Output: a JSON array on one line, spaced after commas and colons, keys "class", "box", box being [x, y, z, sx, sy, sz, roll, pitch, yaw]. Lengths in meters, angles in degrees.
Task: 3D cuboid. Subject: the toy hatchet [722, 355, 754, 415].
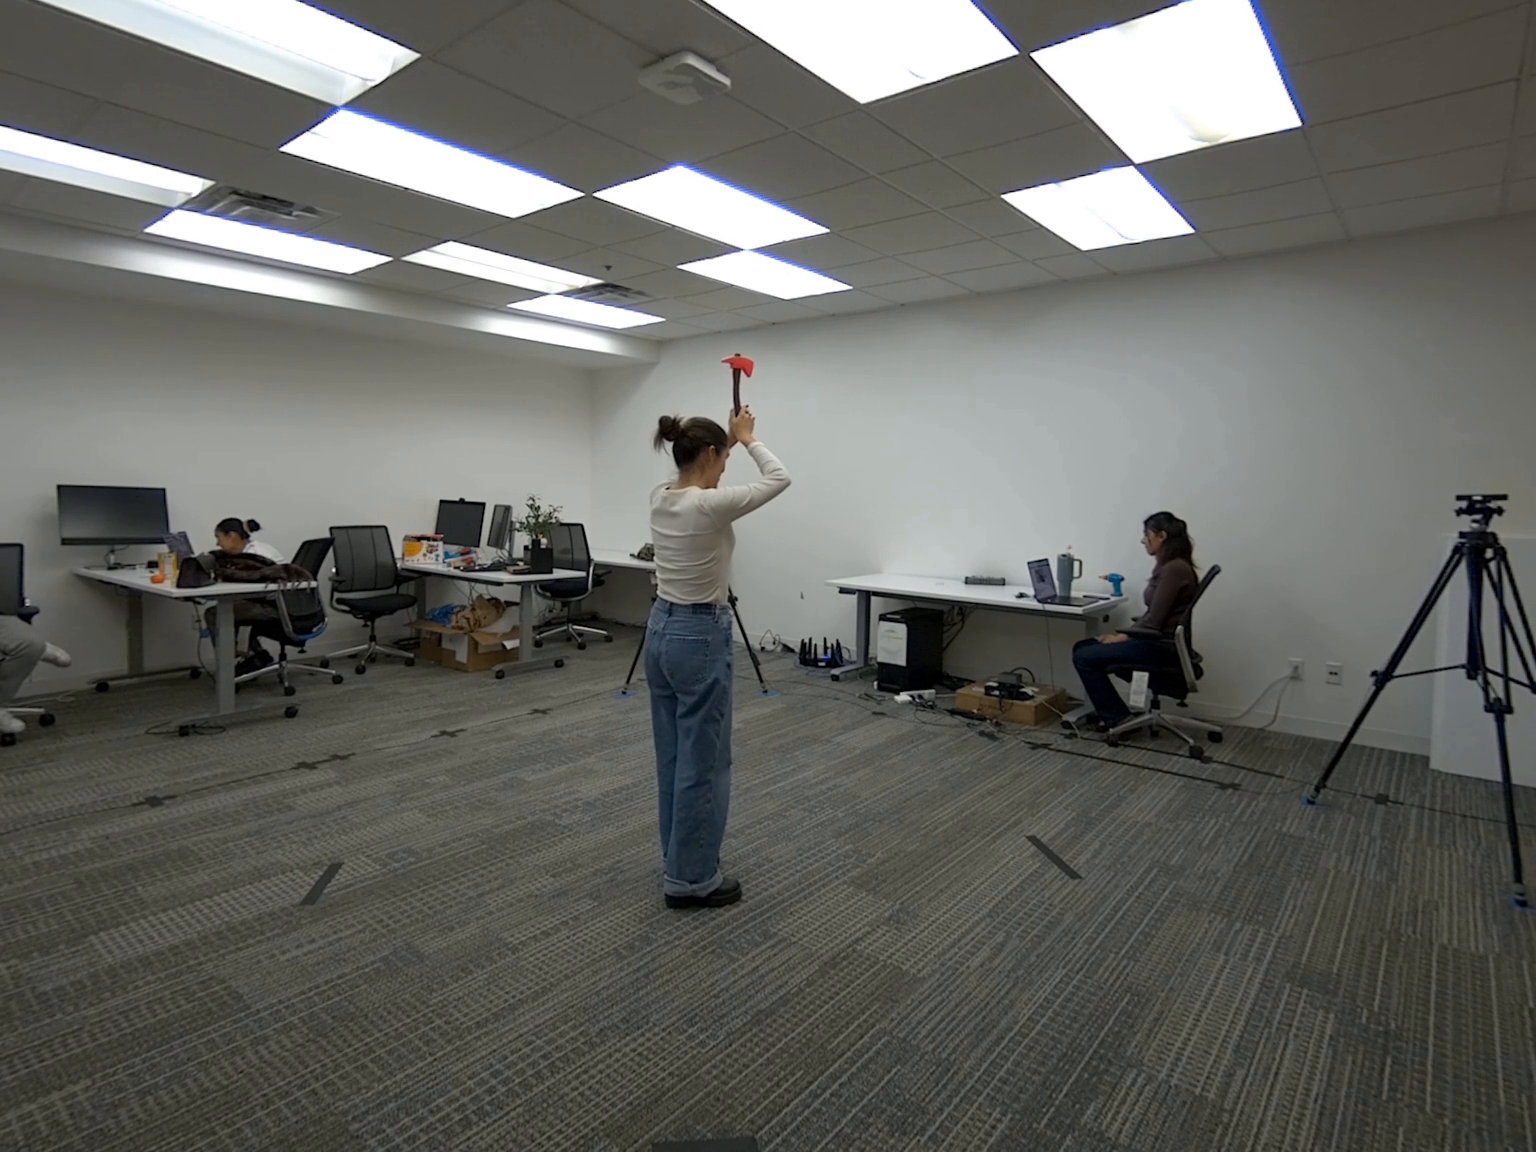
[{"class": "toy hatchet", "box": [-0.096, -0.658, 3.008, 0.129, 0.265, 0.030, -23, 19, -29]}]
